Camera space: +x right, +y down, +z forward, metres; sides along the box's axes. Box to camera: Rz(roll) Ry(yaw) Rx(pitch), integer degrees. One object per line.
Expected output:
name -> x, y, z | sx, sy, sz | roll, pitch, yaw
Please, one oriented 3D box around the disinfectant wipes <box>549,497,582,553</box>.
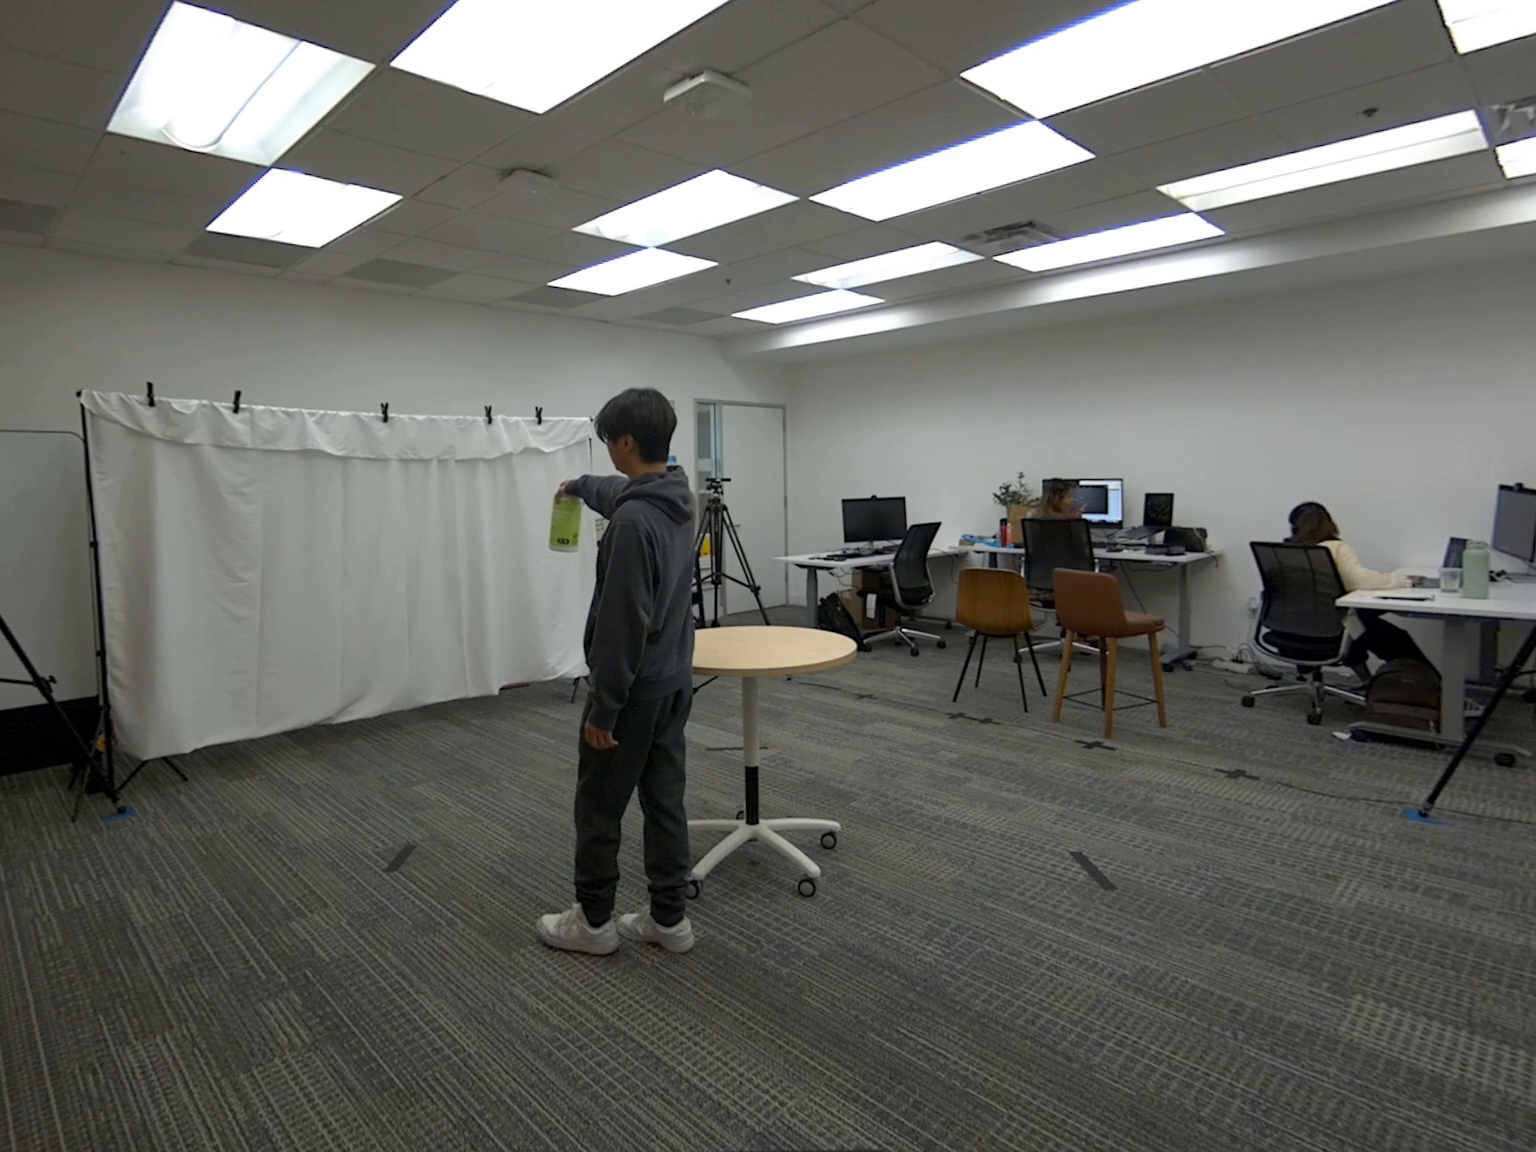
disinfectant wipes -> -0.736, -0.200, 3.109 | 0.117, 0.216, 0.118 | 7, 6, -2
